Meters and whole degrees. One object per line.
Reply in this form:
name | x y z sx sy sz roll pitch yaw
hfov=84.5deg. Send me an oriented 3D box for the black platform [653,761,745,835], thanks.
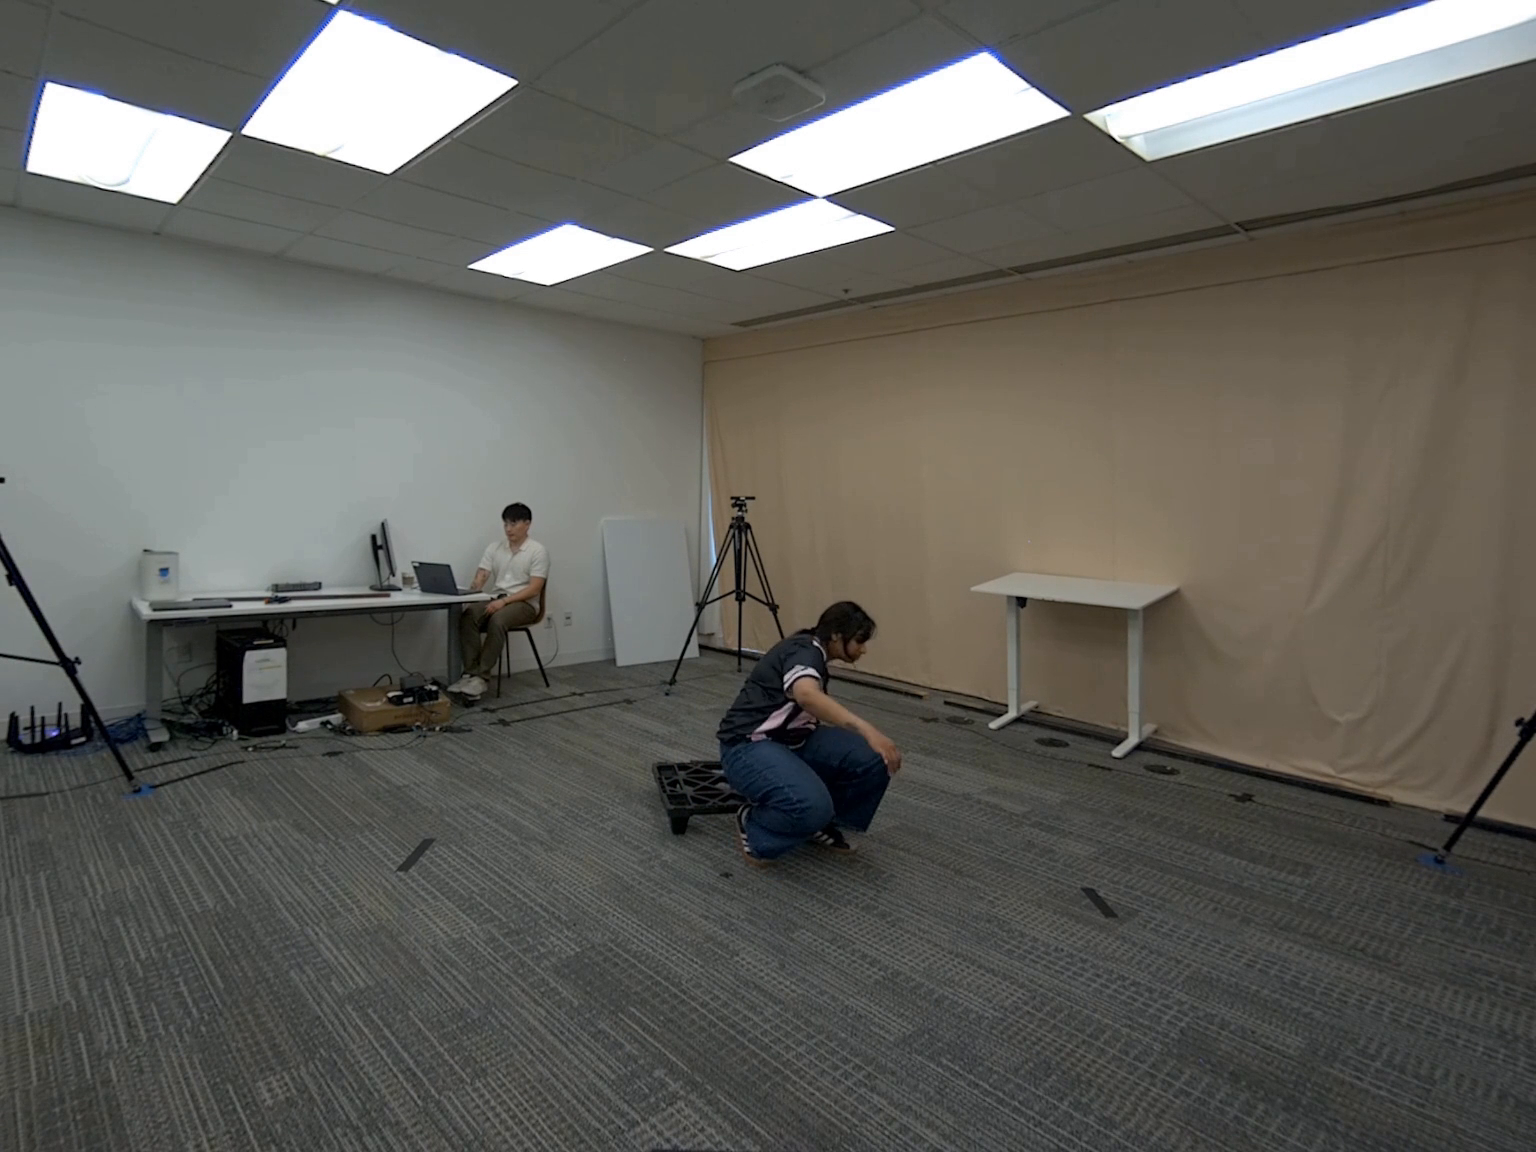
black platform | -0.092 0.982 3.767 0.798 0.143 0.613 0 6 -12
